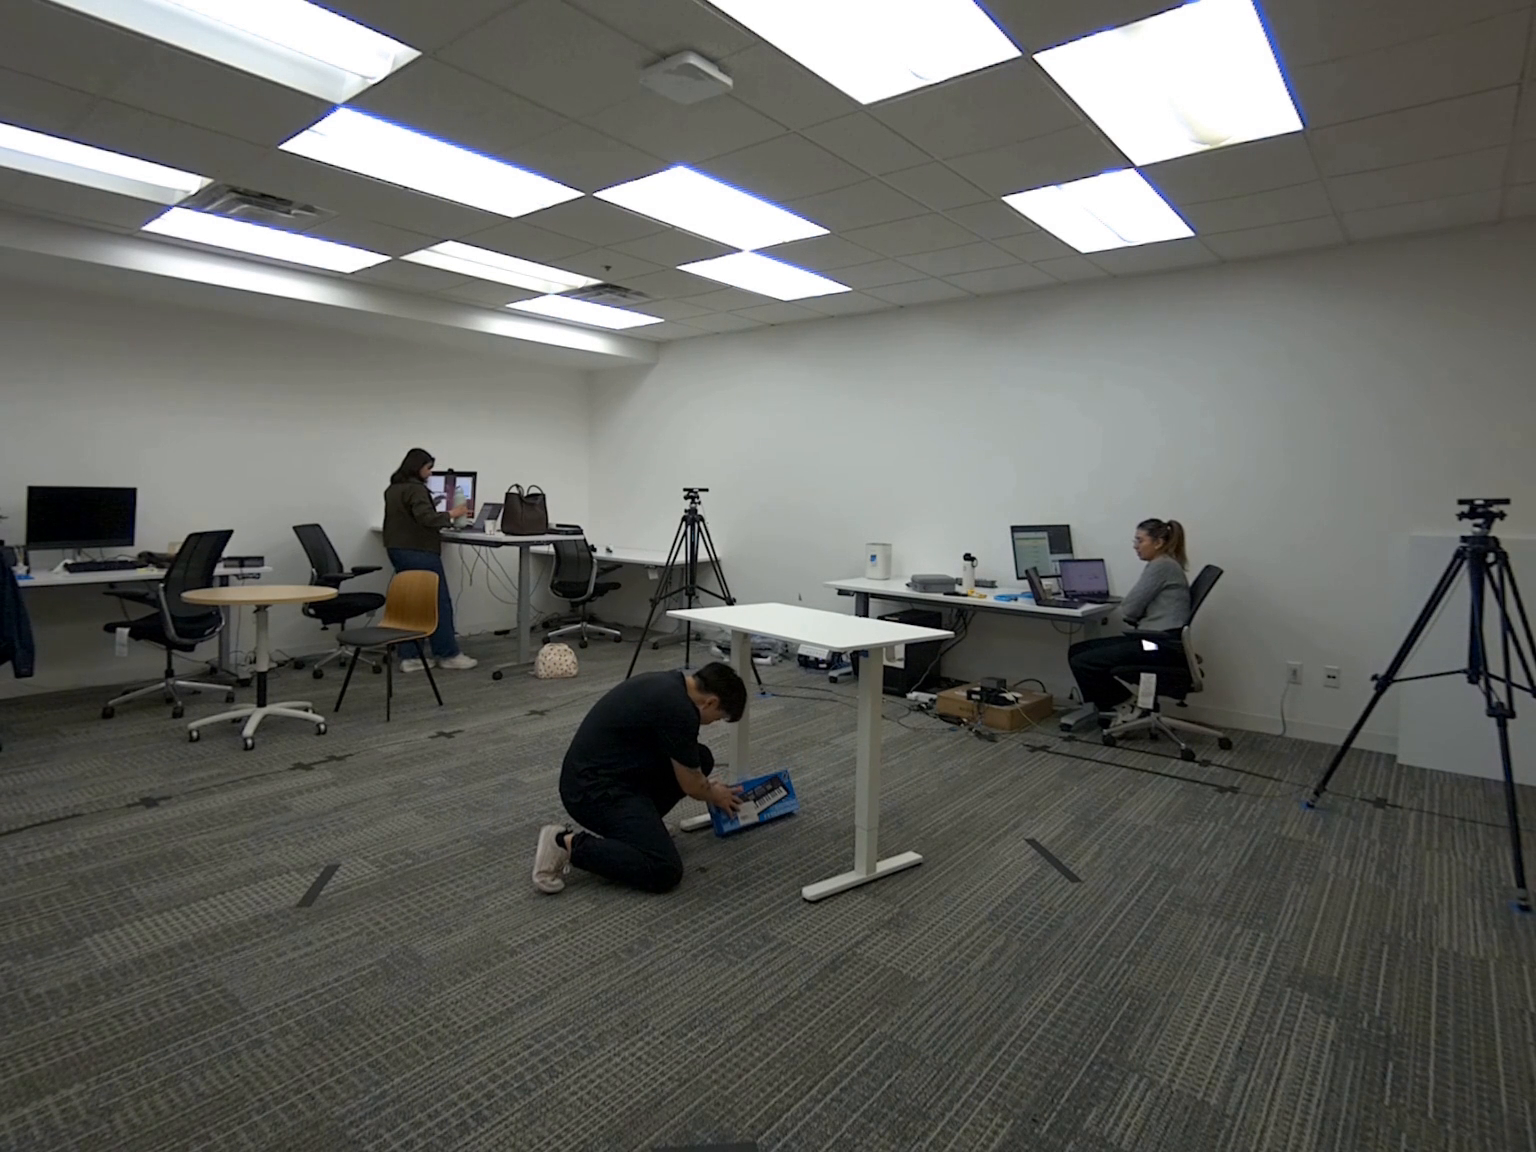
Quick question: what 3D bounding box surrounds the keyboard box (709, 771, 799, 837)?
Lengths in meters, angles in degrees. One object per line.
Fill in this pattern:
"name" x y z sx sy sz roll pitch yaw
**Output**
"keyboard box" -0.071 0.949 3.559 0.424 0.180 0.059 -5 -22 -42
